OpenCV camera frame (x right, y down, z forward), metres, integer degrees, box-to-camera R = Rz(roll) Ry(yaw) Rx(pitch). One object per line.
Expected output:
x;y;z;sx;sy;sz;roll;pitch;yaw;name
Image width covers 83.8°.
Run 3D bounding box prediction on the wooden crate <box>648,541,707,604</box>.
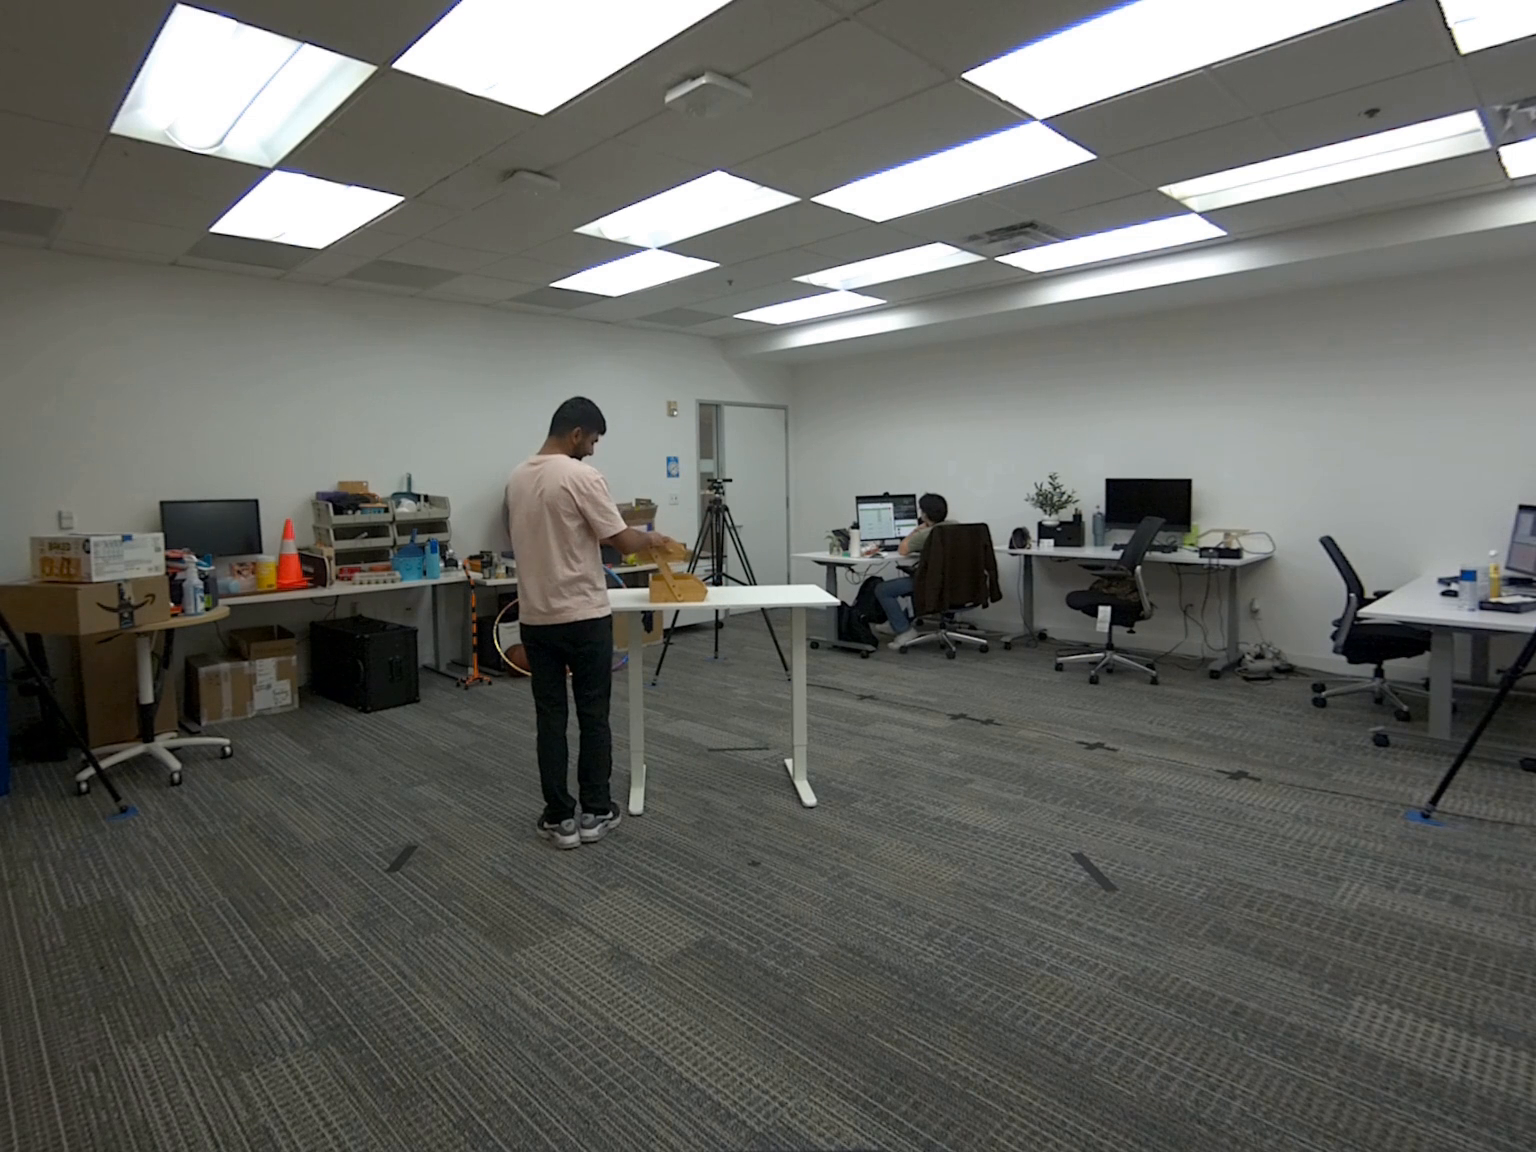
-0.425;-0.033;3.771;0.300;0.272;0.327;-3;4;-6;wooden crate
